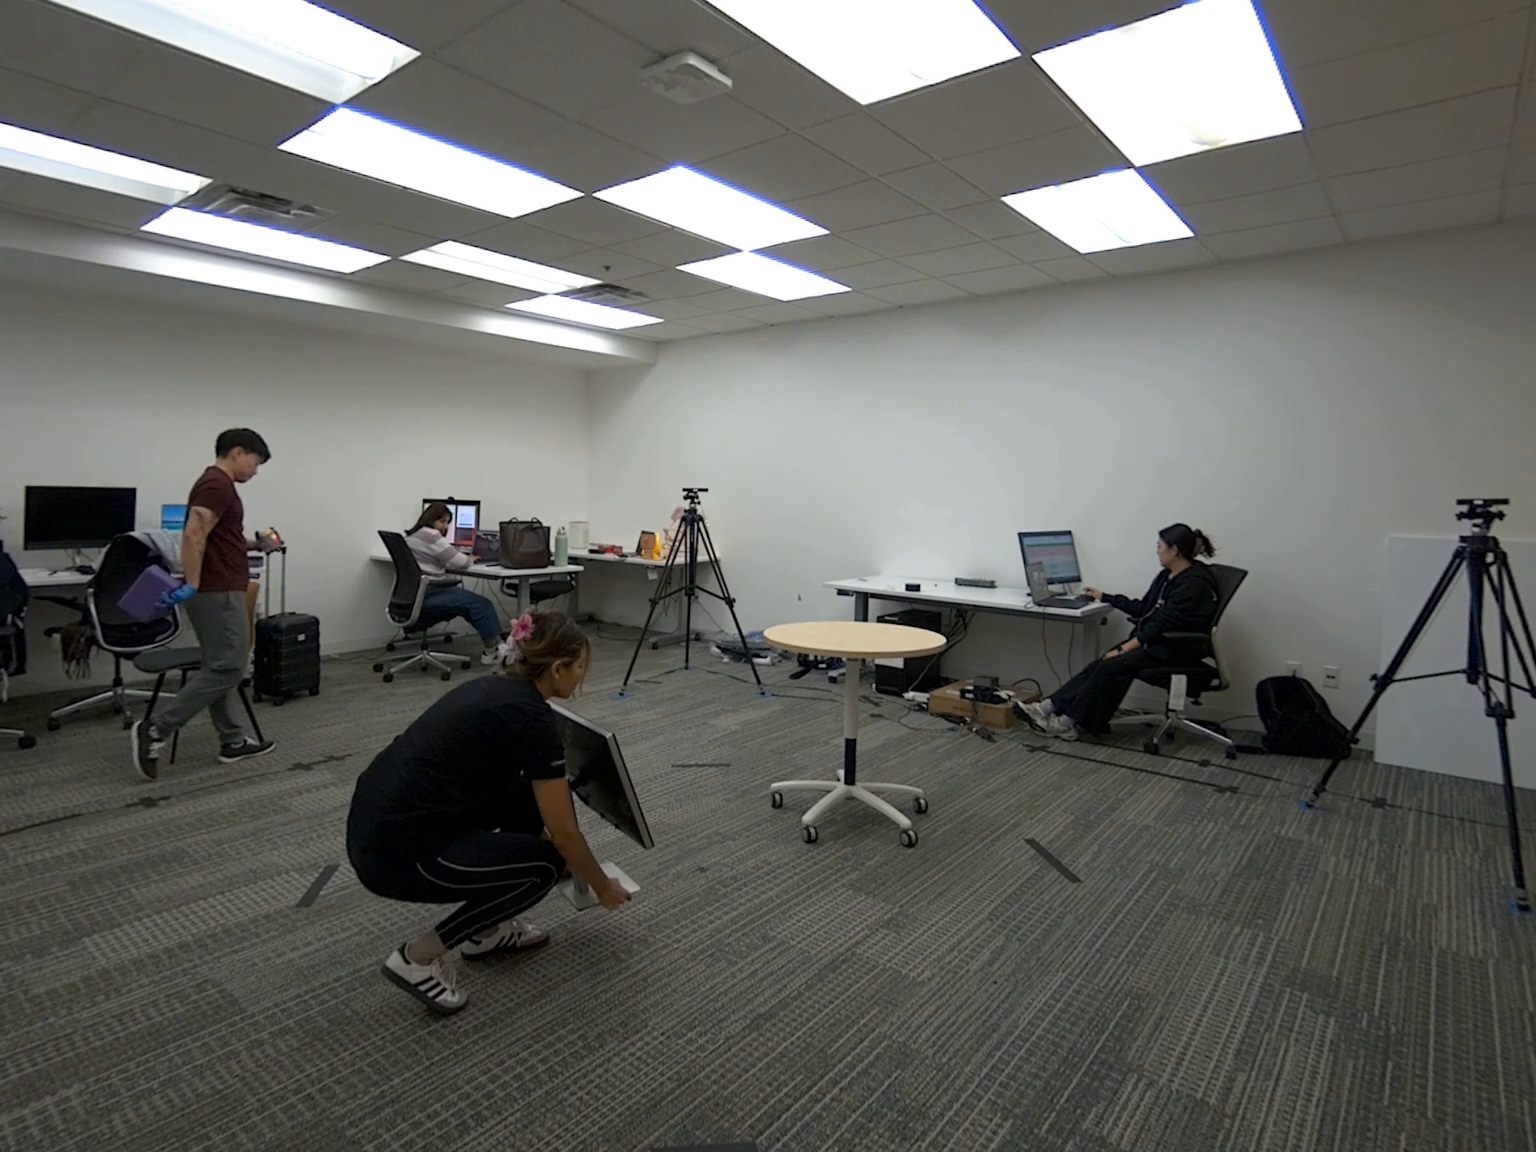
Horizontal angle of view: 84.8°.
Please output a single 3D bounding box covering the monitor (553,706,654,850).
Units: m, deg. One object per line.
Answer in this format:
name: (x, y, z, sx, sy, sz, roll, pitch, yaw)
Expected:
monitor: (-0.562, 0.685, 2.606, 0.182, 0.520, 0.555, -9, 6, -34)
